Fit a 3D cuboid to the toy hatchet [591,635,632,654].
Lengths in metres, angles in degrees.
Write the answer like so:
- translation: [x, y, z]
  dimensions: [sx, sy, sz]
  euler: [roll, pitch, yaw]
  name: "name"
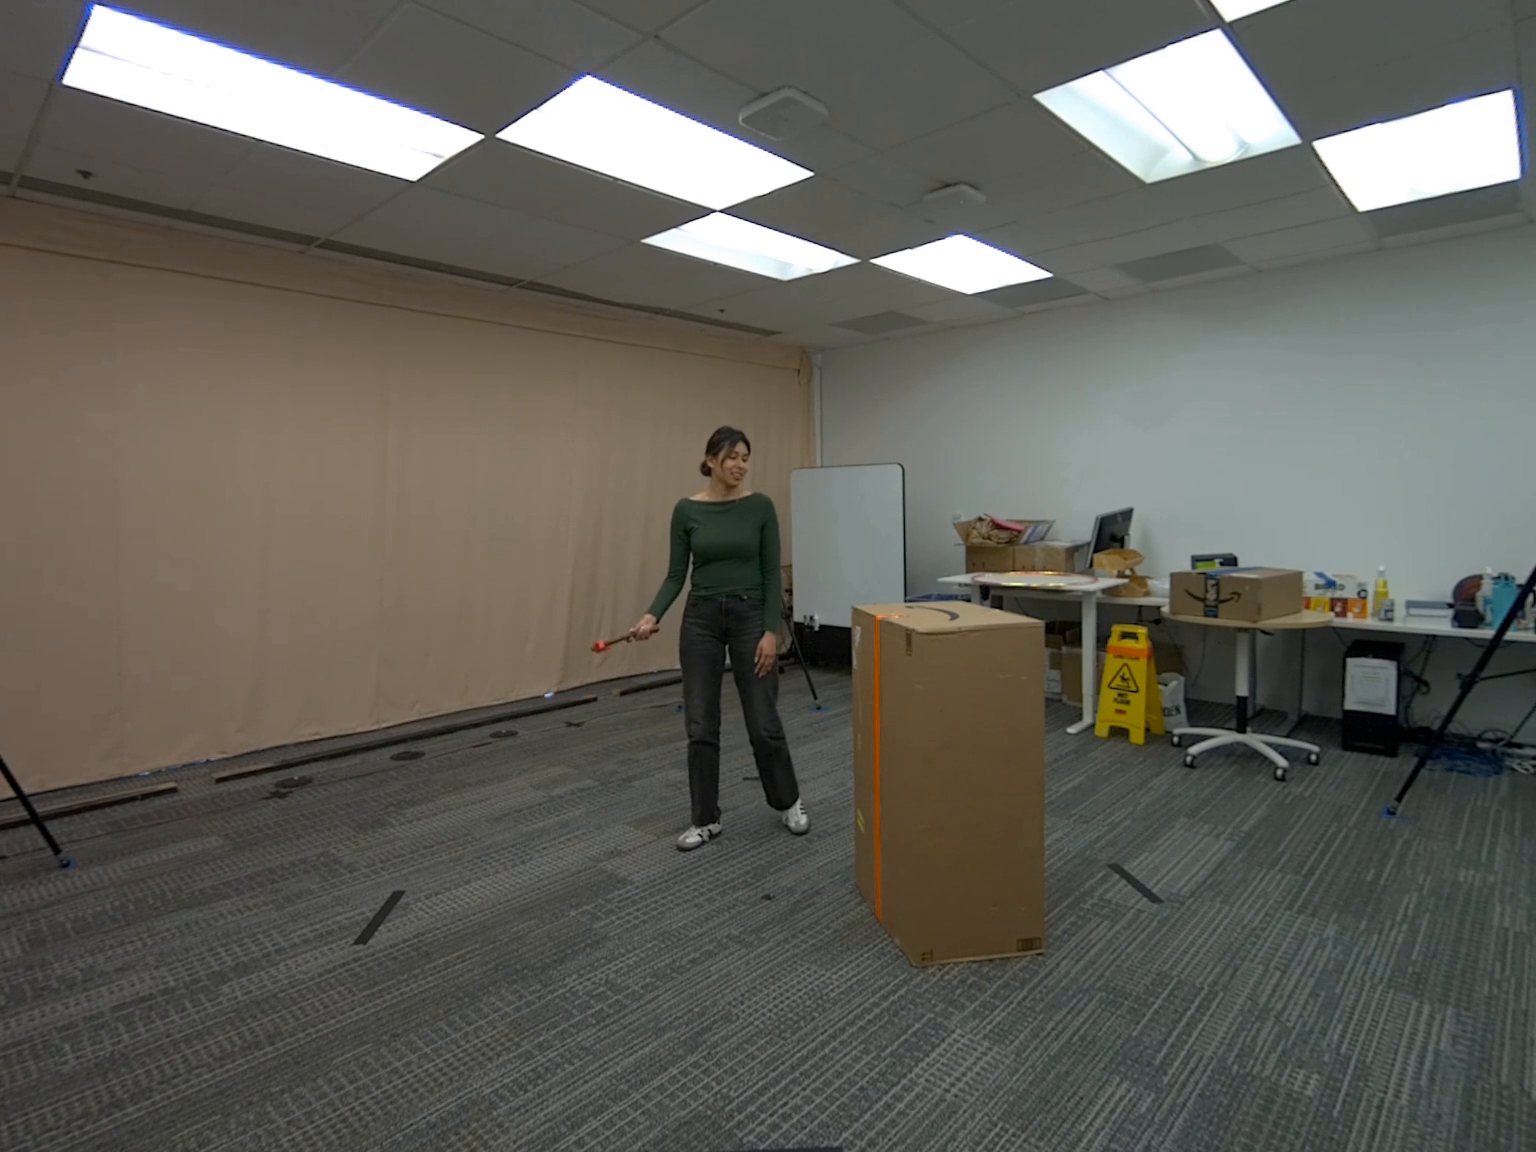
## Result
- translation: [-0.557, 0.246, 3.287]
  dimensions: [0.264, 0.030, 0.131]
  euler: [-11, -22, -26]
  name: "toy hatchet"
